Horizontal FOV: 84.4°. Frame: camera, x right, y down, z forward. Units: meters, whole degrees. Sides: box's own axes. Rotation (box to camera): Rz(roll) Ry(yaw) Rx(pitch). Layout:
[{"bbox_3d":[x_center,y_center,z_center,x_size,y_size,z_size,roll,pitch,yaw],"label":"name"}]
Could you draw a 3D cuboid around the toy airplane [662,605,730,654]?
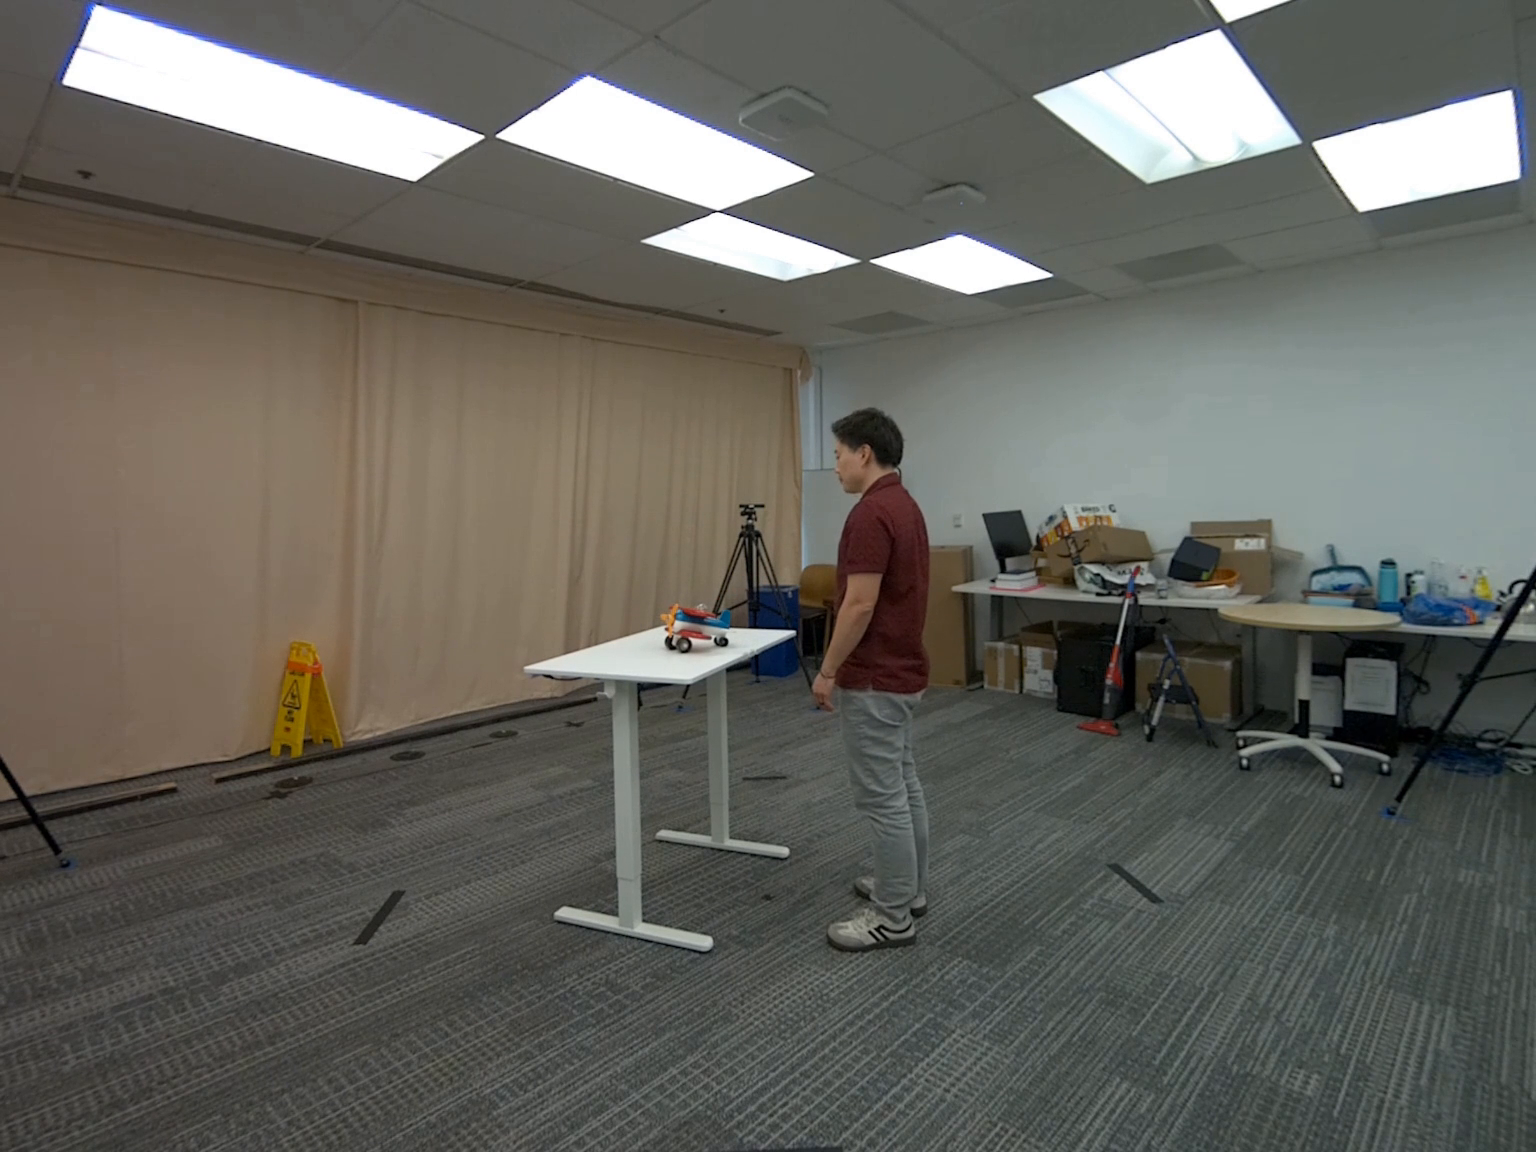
[{"bbox_3d":[-0.259,0.182,3.021,0.258,0.156,0.252,1,5,30],"label":"toy airplane"}]
